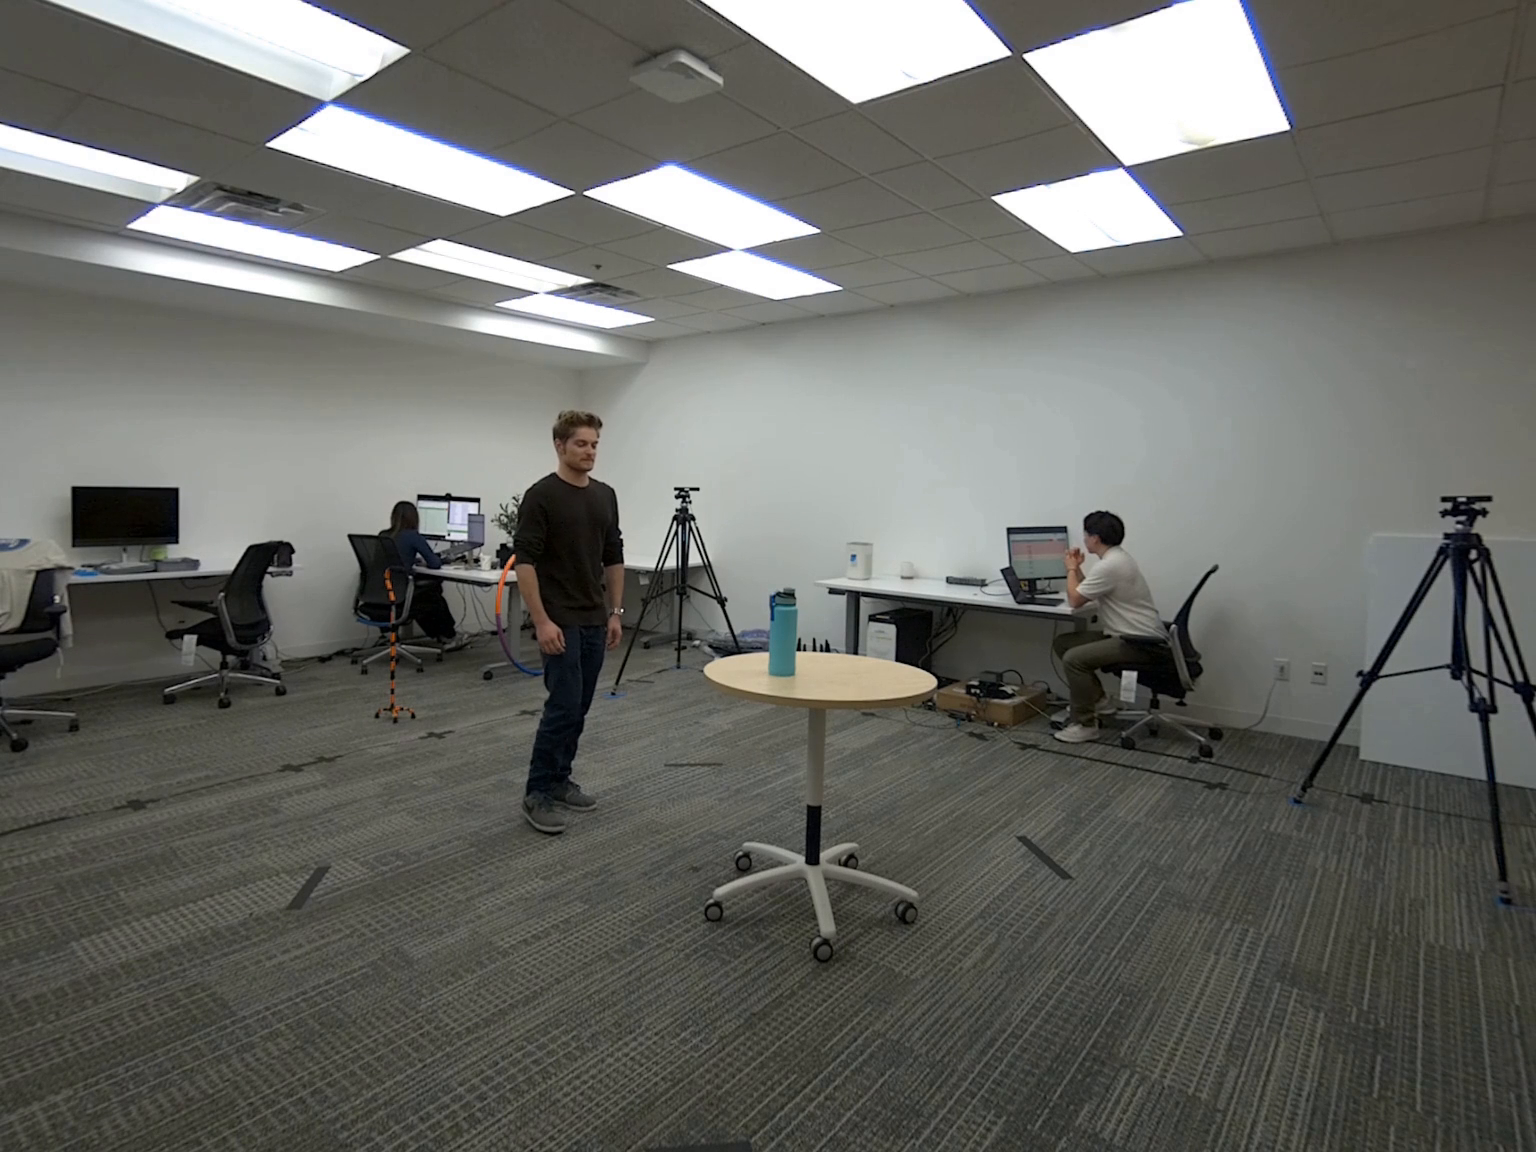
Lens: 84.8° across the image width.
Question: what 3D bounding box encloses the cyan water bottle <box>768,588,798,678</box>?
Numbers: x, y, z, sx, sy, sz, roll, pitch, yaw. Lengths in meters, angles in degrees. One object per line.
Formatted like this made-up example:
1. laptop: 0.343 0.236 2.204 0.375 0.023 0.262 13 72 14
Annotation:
1. cyan water bottle: 0.041 0.180 2.790 0.092 0.282 0.093 0 4 -2
